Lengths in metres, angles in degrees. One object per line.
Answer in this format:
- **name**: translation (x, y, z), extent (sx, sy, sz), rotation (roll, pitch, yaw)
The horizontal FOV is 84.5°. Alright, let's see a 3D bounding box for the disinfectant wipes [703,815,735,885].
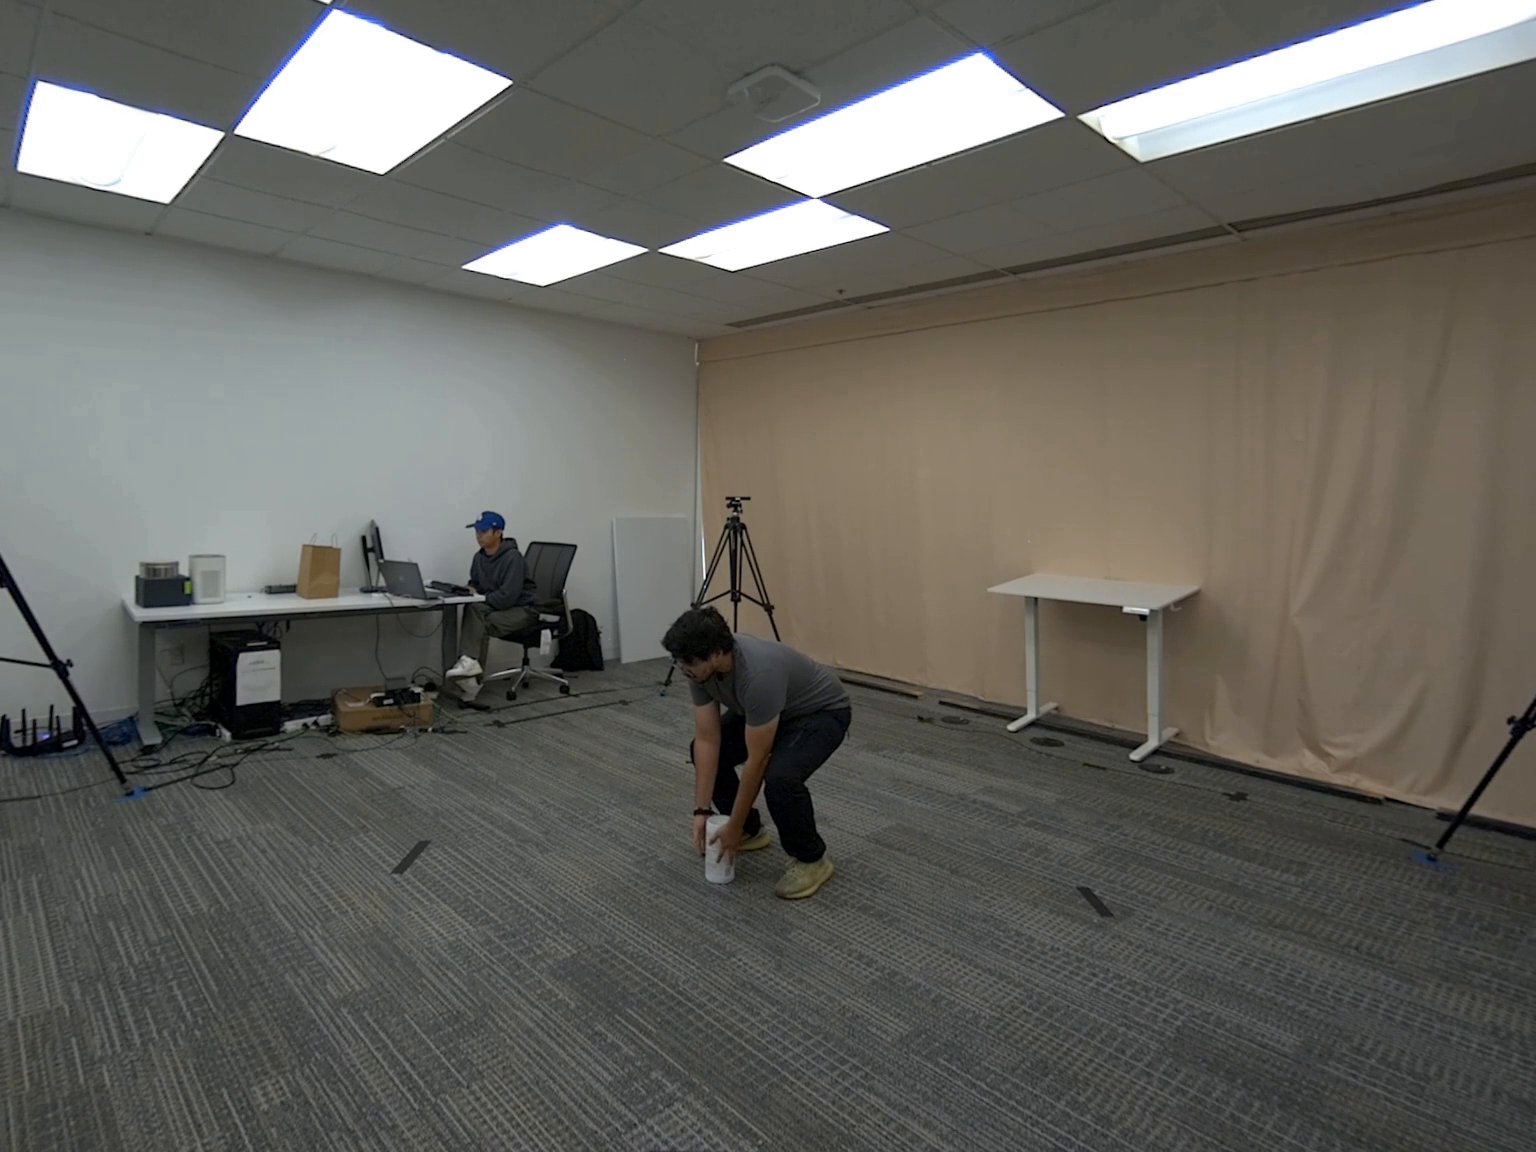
- **disinfectant wipes**: translation (-0.182, 0.999, 3.079), extent (0.118, 0.217, 0.118), rotation (1, 4, -1)
